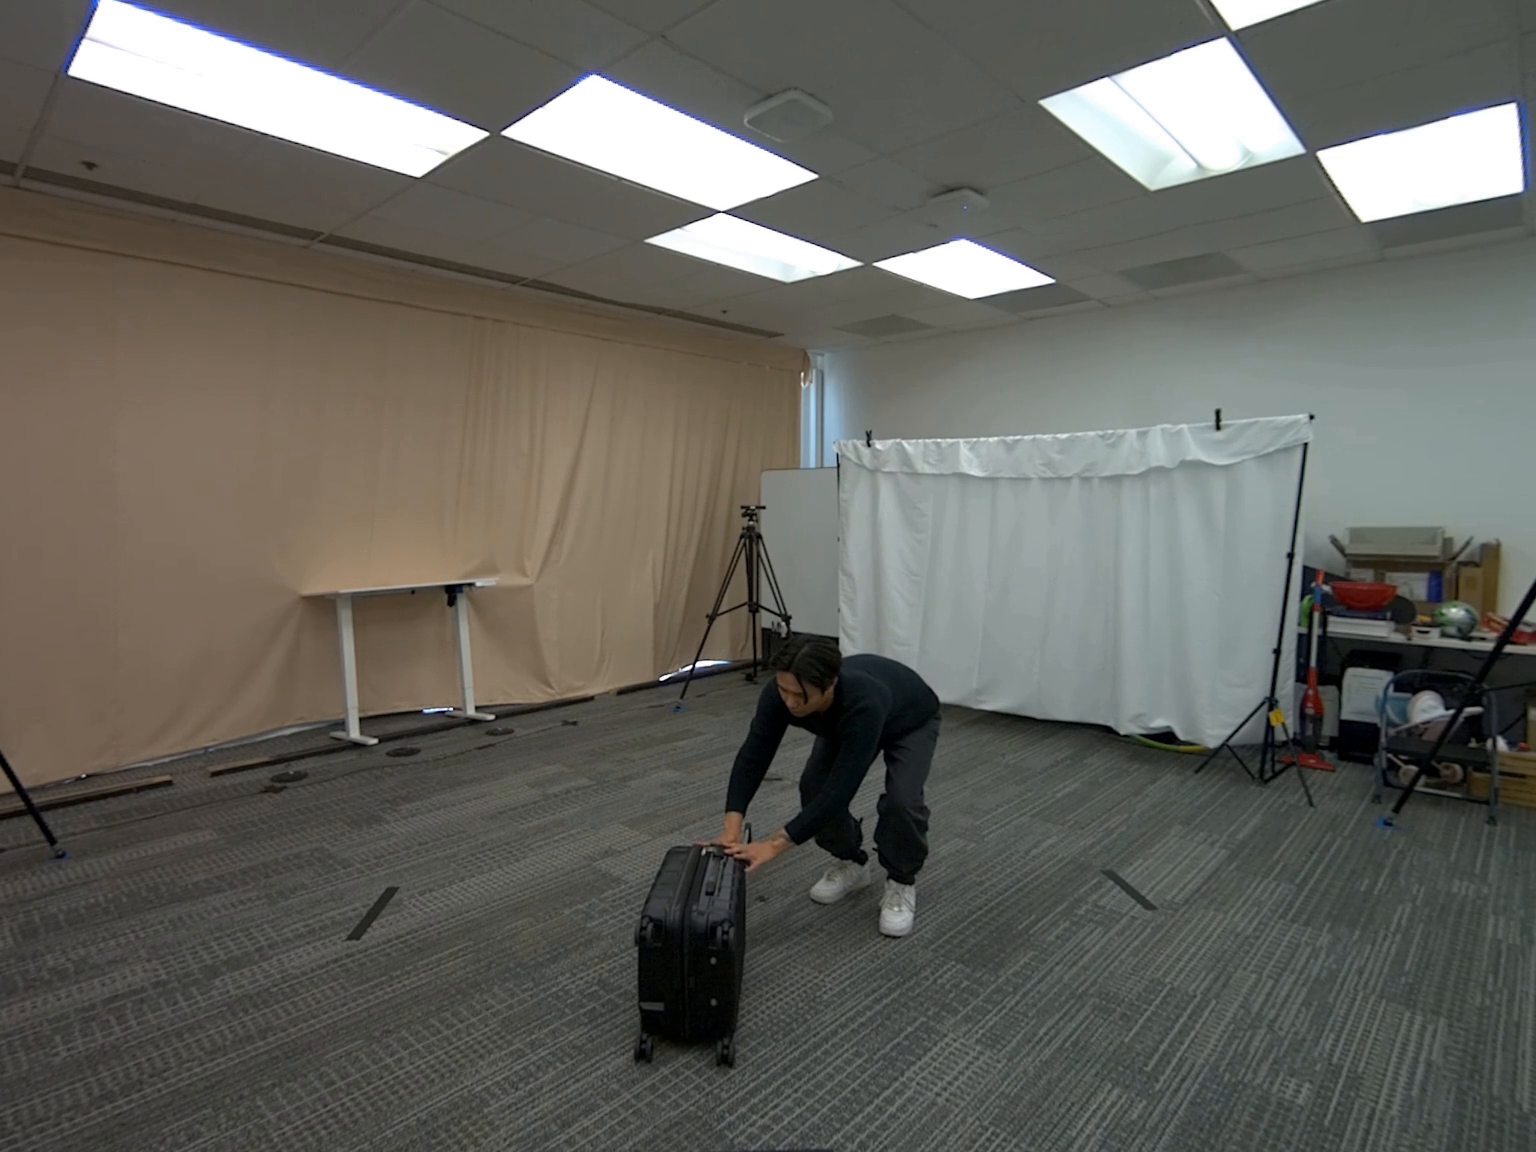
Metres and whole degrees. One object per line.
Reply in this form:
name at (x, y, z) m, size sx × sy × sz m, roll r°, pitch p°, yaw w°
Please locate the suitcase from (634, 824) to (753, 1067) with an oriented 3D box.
suitcase at (-0.198, 0.999, 2.557) m, size 0.258 × 0.383 × 0.977 m, roll 1°, pitch 5°, yaw 1°
